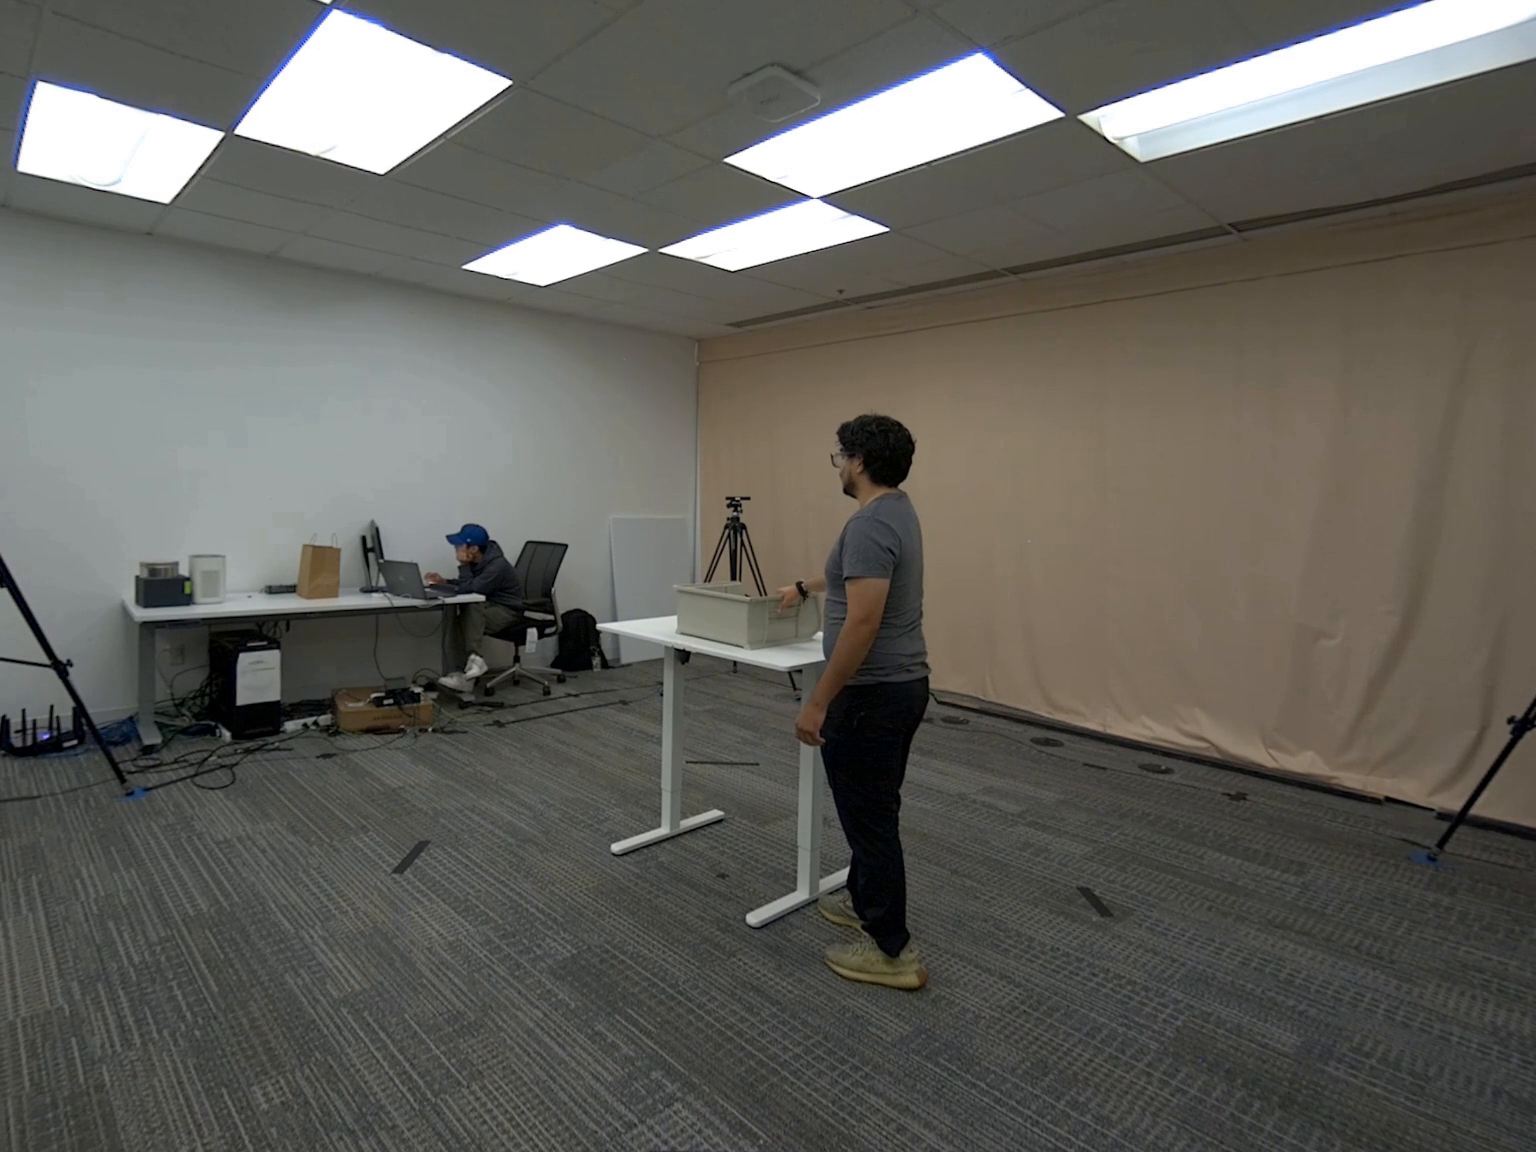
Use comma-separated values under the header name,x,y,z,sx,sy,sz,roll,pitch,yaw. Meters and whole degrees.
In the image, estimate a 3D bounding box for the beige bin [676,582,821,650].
name,x,y,z,sx,sy,sz,roll,pitch,yaw
beige bin,-0.082,0.135,3.102,0.369,0.188,0.433,-6,9,-43
